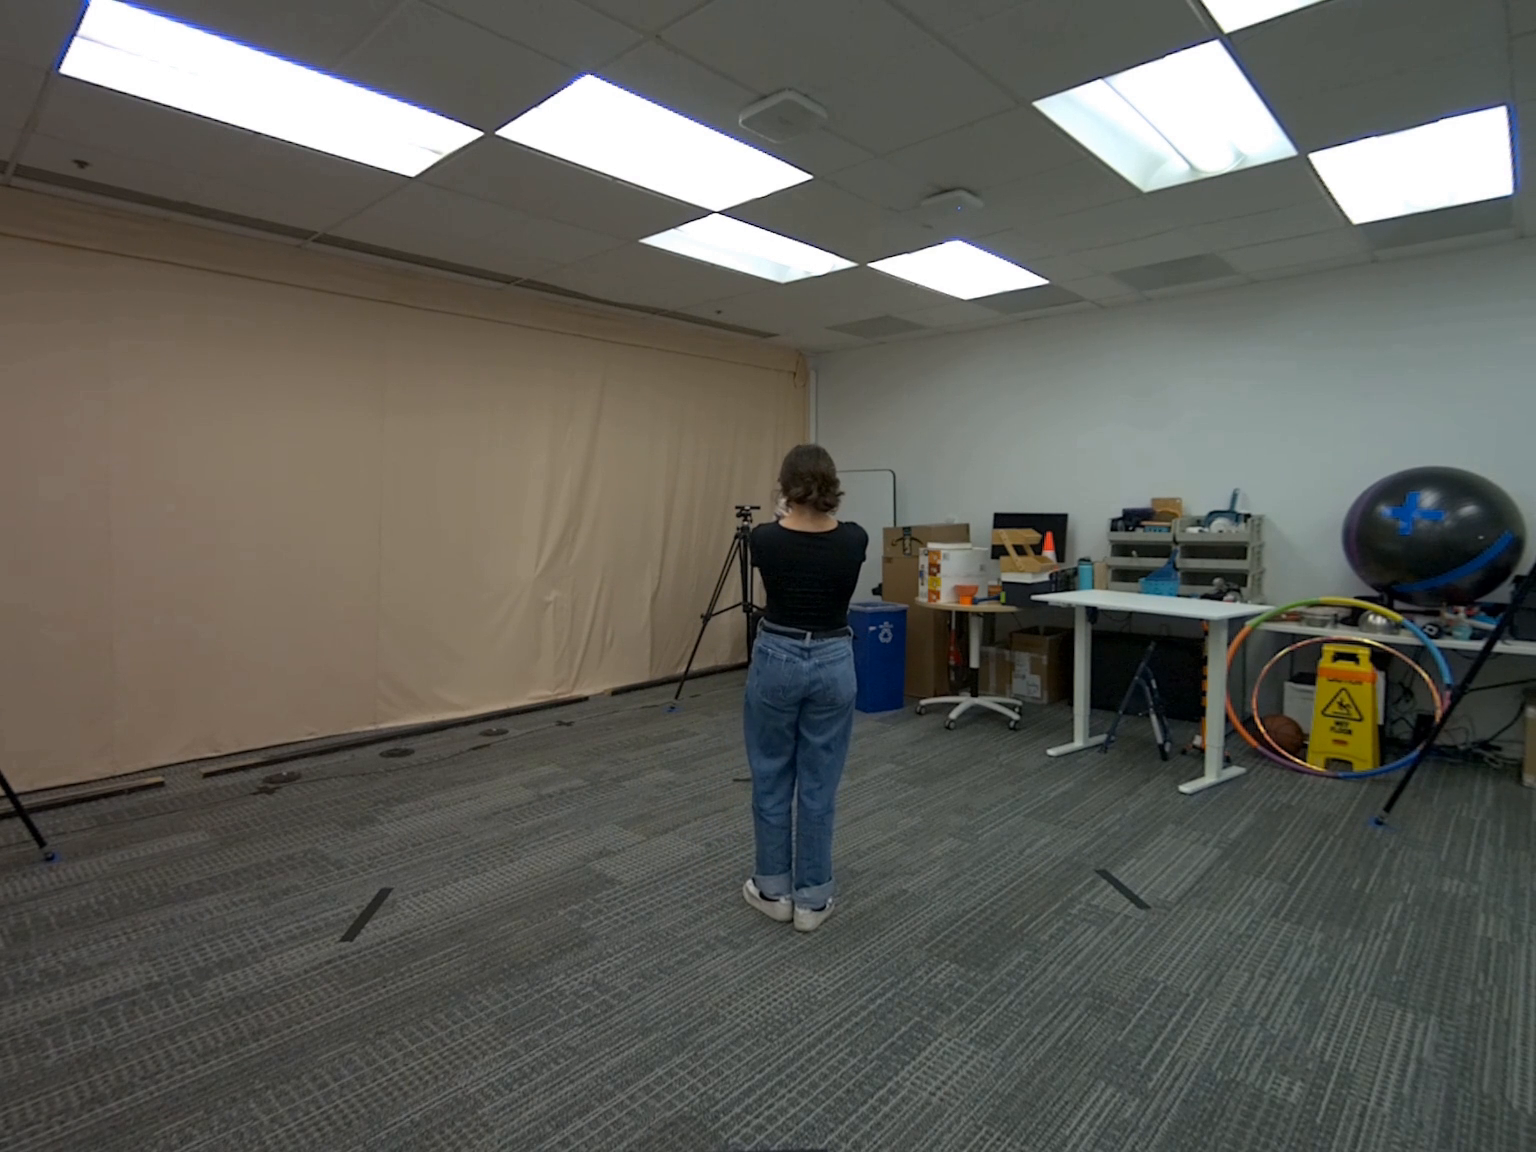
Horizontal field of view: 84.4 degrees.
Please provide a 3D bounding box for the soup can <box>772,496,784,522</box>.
[{"bbox_3d":[0.060,-0.244,3.342,0.067,0.121,0.068,13,16,-6],"label":"soup can"}]
